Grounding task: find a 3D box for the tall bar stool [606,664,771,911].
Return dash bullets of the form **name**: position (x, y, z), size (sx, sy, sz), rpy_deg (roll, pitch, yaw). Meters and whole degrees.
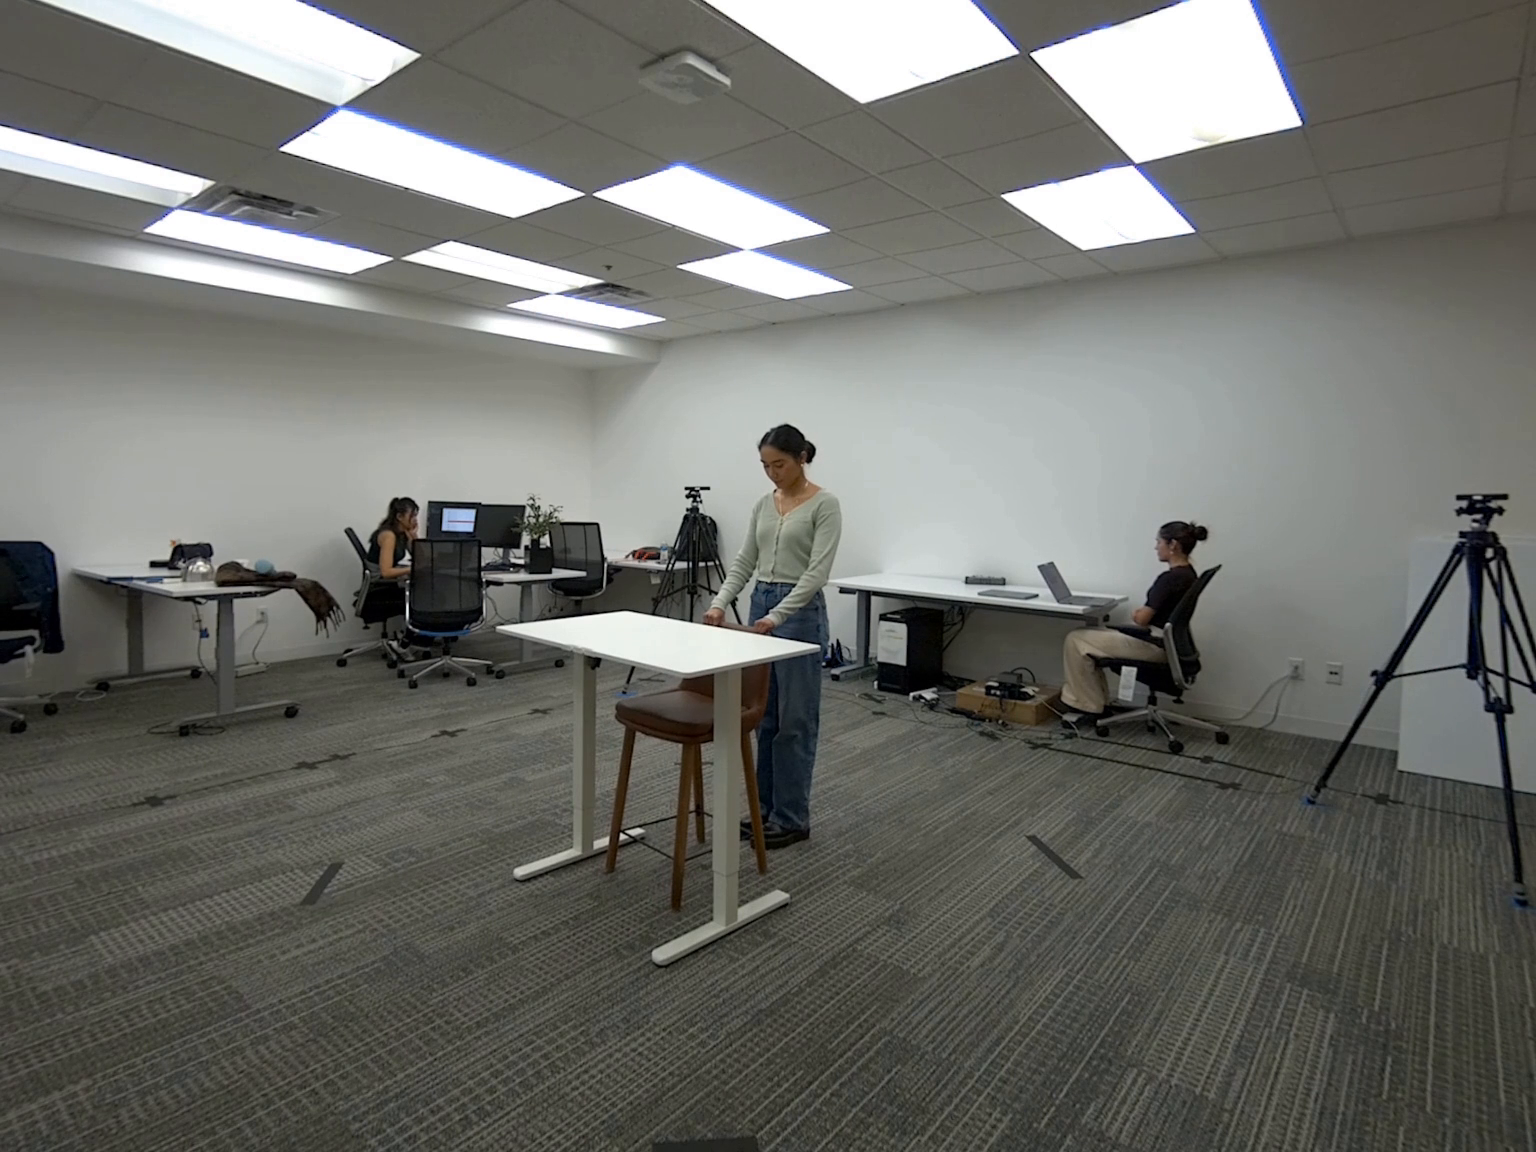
- **tall bar stool**: position (-0.277, 0.634, 3.063), size (0.452, 0.889, 0.472), rpy_deg (1, 2, -43)
